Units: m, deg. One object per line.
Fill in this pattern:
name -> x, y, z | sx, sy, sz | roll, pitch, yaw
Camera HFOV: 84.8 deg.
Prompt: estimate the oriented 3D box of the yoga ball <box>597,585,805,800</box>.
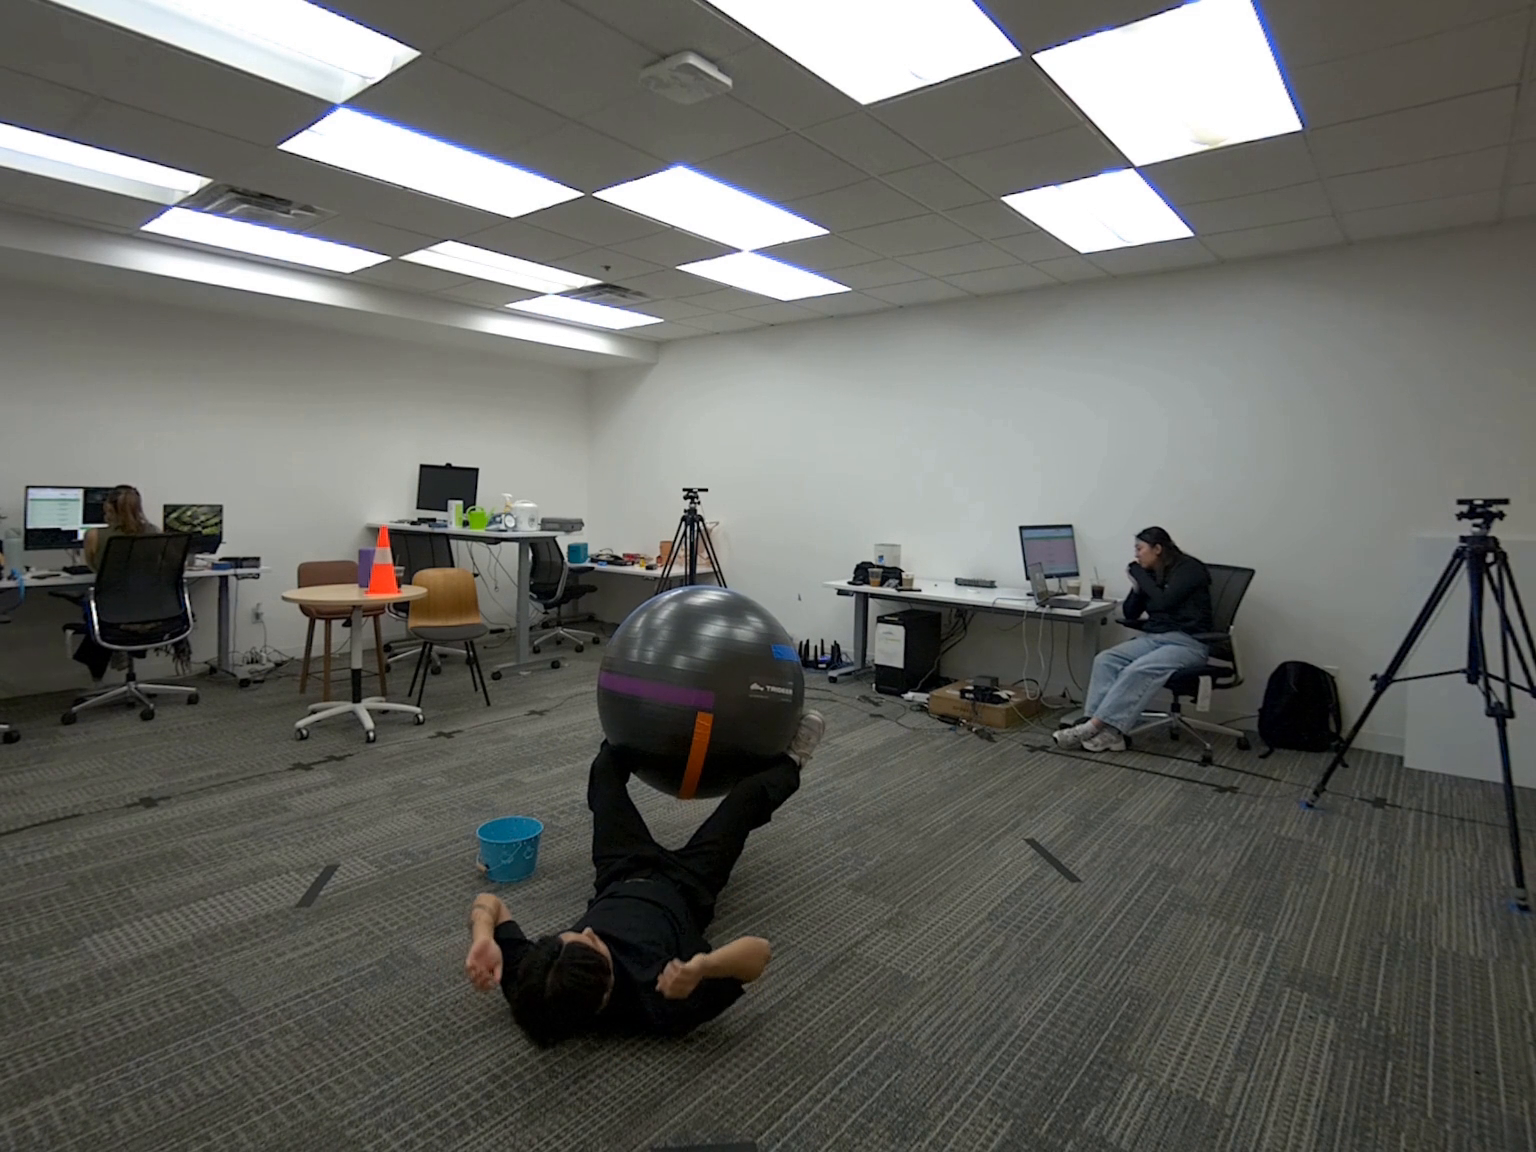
yoga ball -> -0.263, 0.416, 3.104 | 0.757, 0.755, 0.762 | 1, 4, -2
